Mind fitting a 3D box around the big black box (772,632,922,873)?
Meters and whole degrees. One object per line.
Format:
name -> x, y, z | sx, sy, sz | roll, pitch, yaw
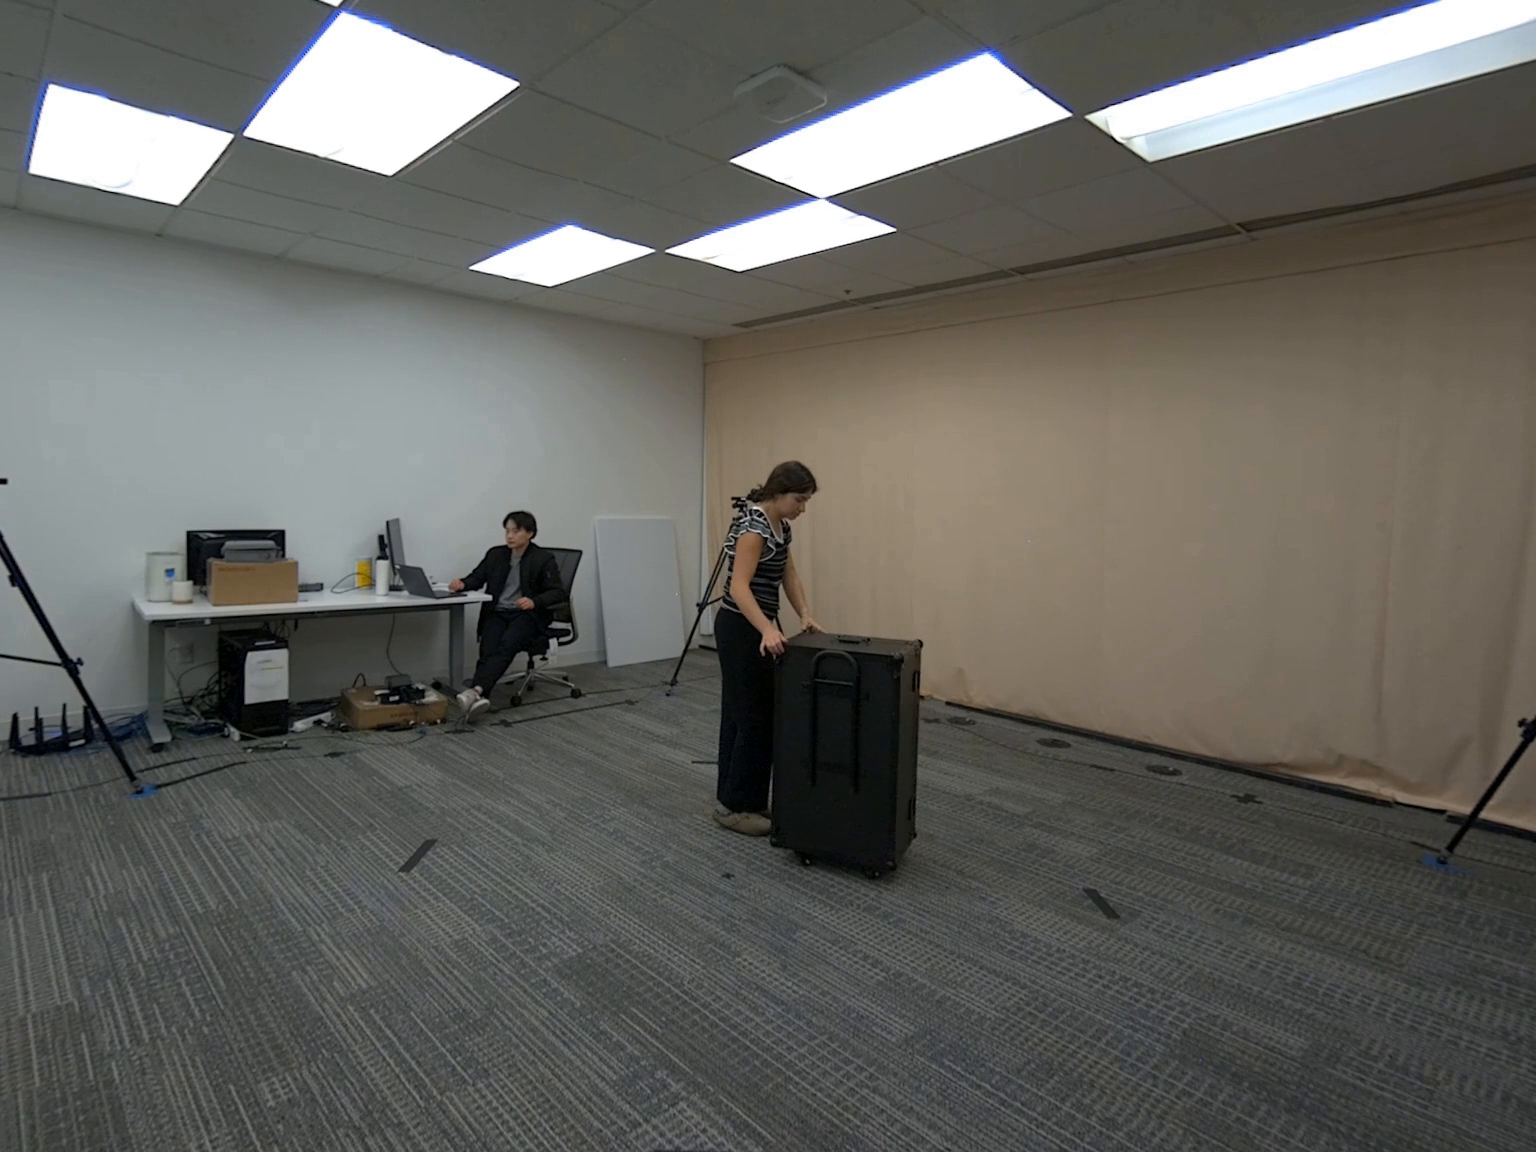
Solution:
big black box -> 0.301, 0.680, 3.236 | 0.531, 0.859, 0.390 | 3, 5, 24
